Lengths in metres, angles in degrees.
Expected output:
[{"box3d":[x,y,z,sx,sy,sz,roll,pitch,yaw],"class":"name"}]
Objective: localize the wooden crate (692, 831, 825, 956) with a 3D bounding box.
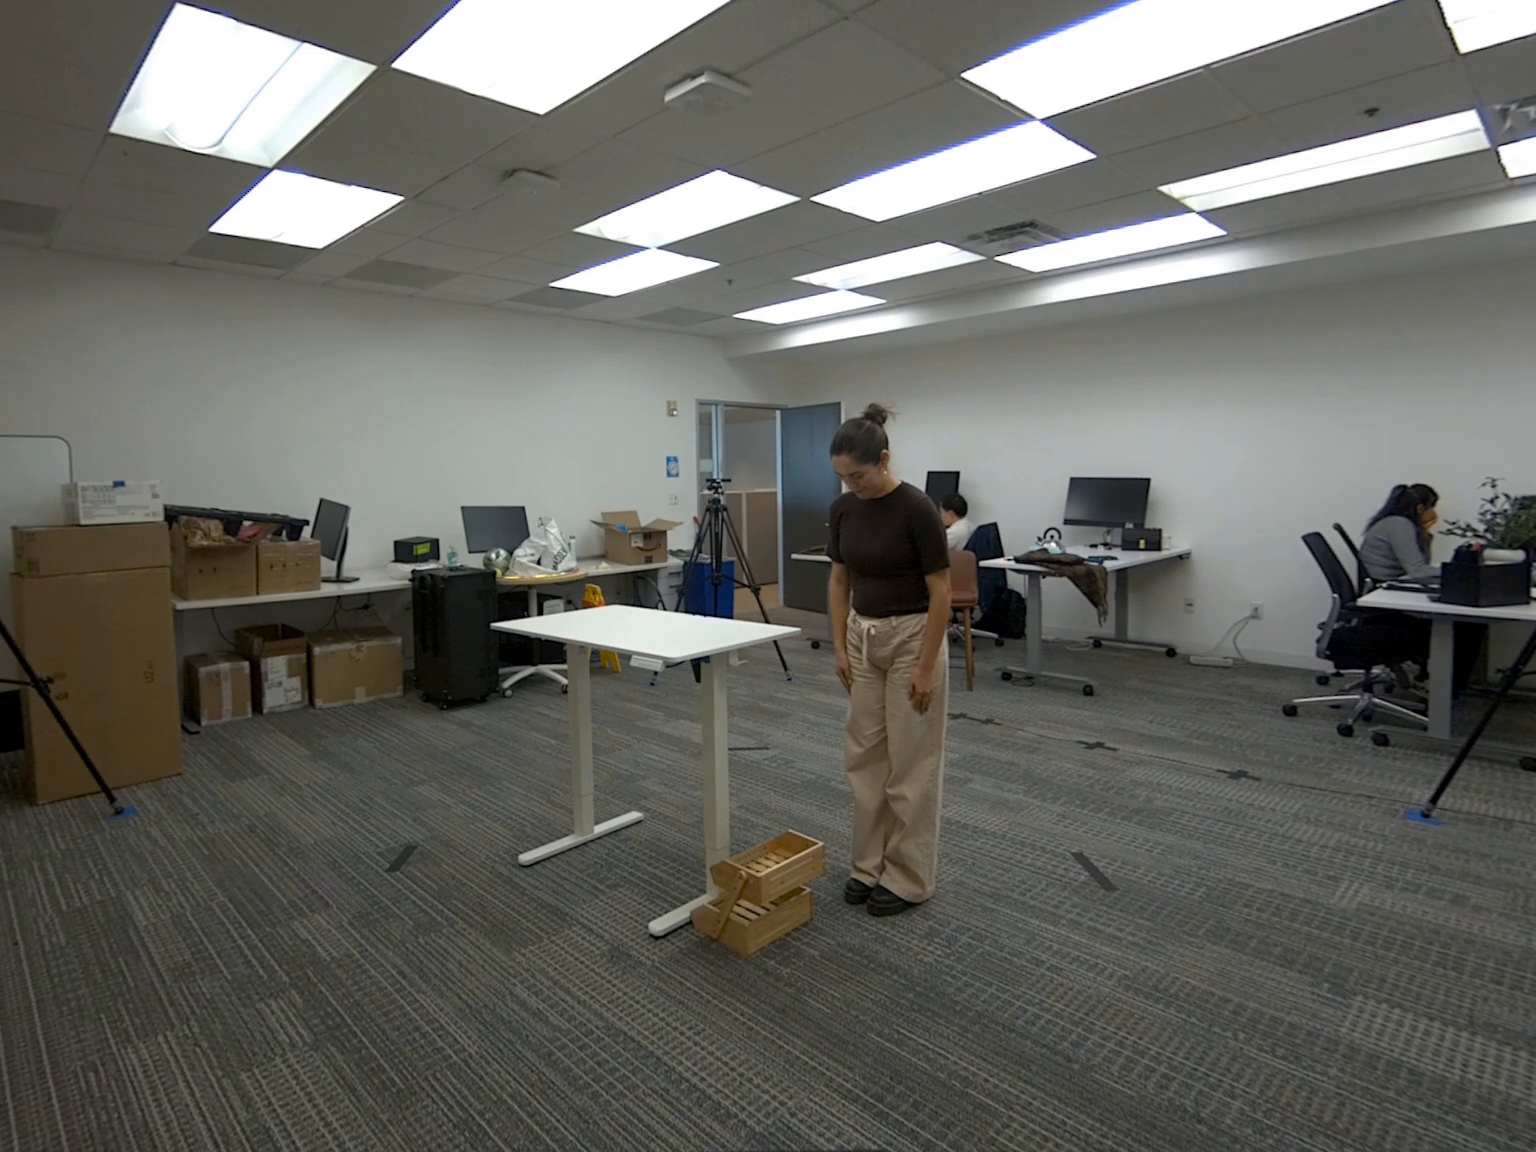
[{"box3d":[-0.032,0.963,2.666,0.311,0.272,0.316,5,8,43],"class":"wooden crate"}]
